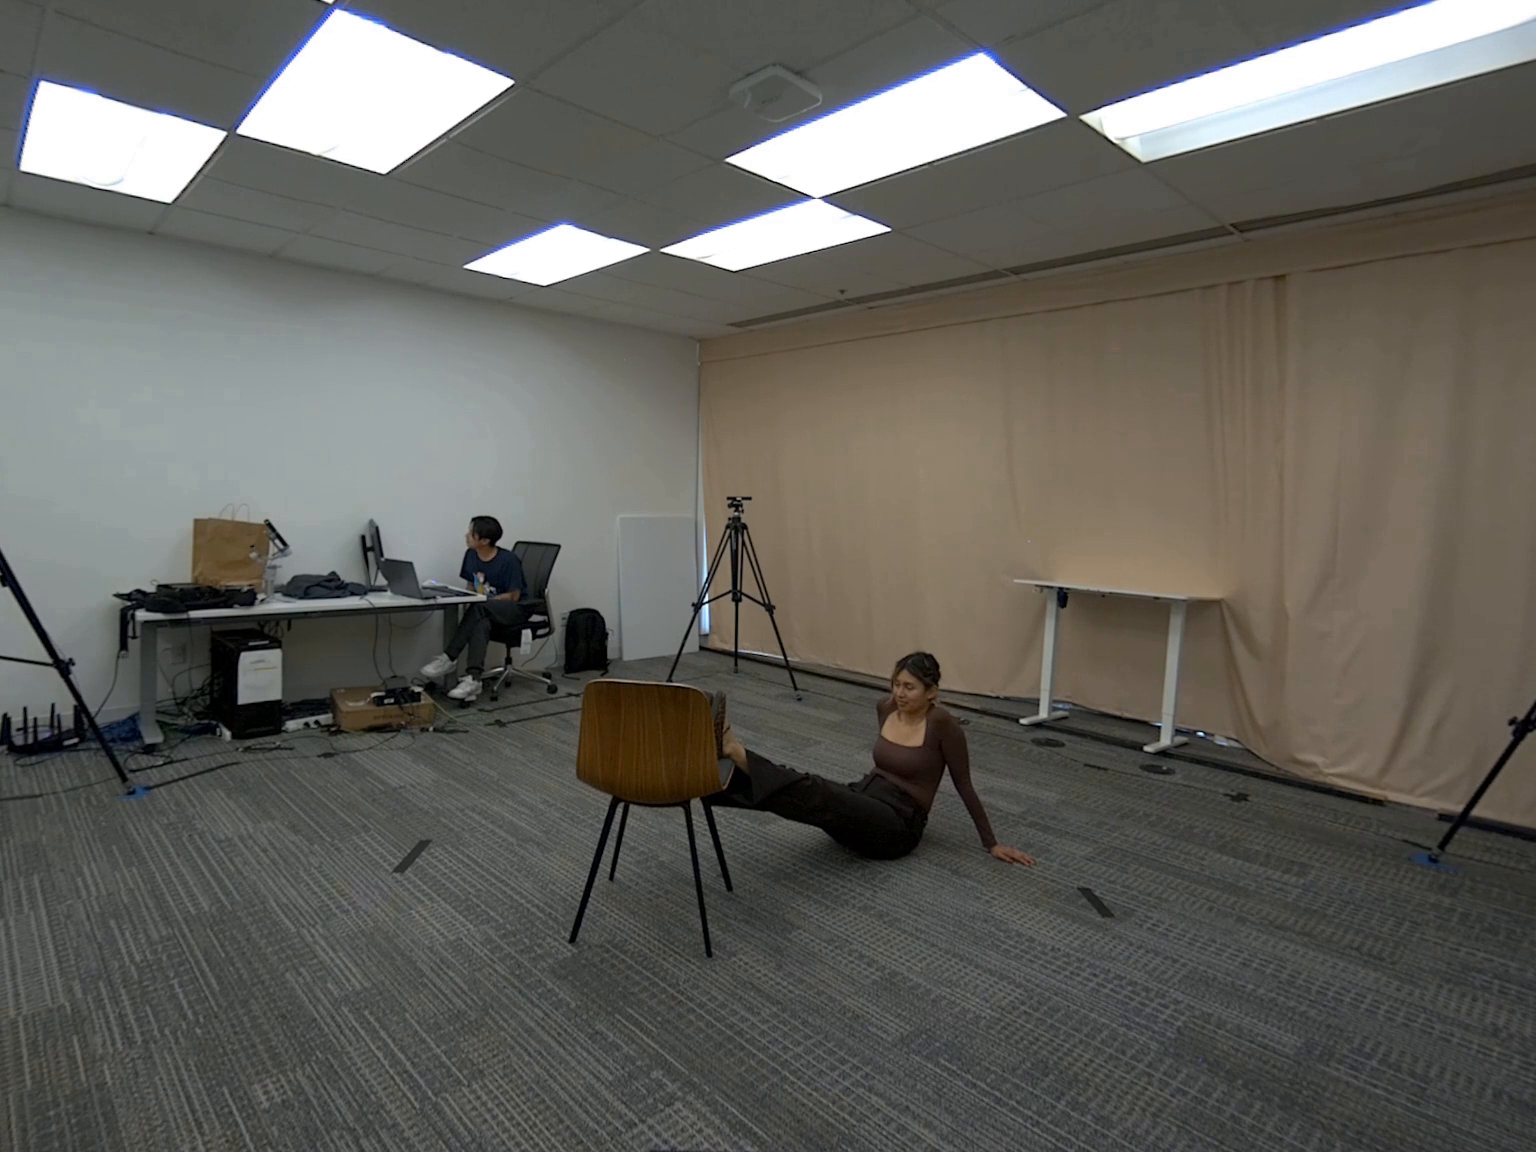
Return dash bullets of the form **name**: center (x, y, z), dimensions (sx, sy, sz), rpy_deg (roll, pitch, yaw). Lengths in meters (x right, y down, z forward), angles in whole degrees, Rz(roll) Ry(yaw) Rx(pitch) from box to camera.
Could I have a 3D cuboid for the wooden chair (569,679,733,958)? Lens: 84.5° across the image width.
- **wooden chair**: center (-0.365, 0.705, 2.771), dimensions (0.481, 0.873, 0.522), rpy_deg (2, 7, 7)
